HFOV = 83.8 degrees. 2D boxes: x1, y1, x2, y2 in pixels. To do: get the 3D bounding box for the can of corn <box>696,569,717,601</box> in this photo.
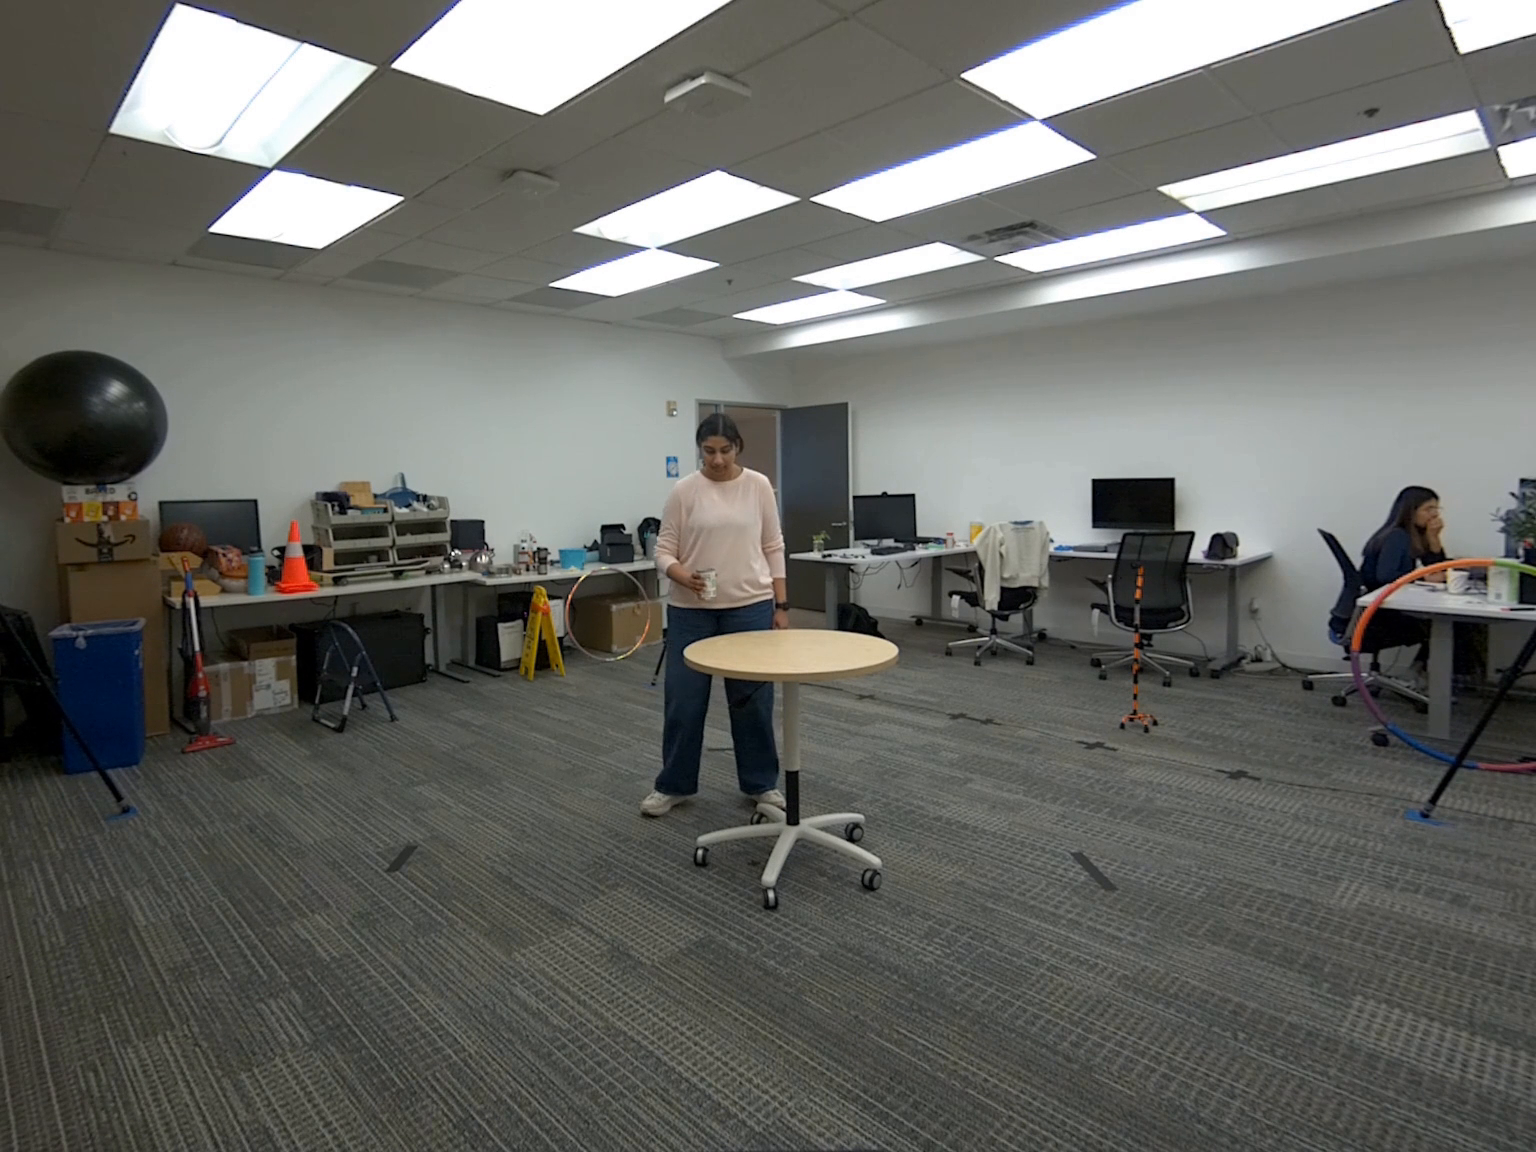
[{"bbox_3d":[-0.246,0.035,3.316,0.074,0.110,0.074,-2,4,-1],"label":"can of corn"}]
